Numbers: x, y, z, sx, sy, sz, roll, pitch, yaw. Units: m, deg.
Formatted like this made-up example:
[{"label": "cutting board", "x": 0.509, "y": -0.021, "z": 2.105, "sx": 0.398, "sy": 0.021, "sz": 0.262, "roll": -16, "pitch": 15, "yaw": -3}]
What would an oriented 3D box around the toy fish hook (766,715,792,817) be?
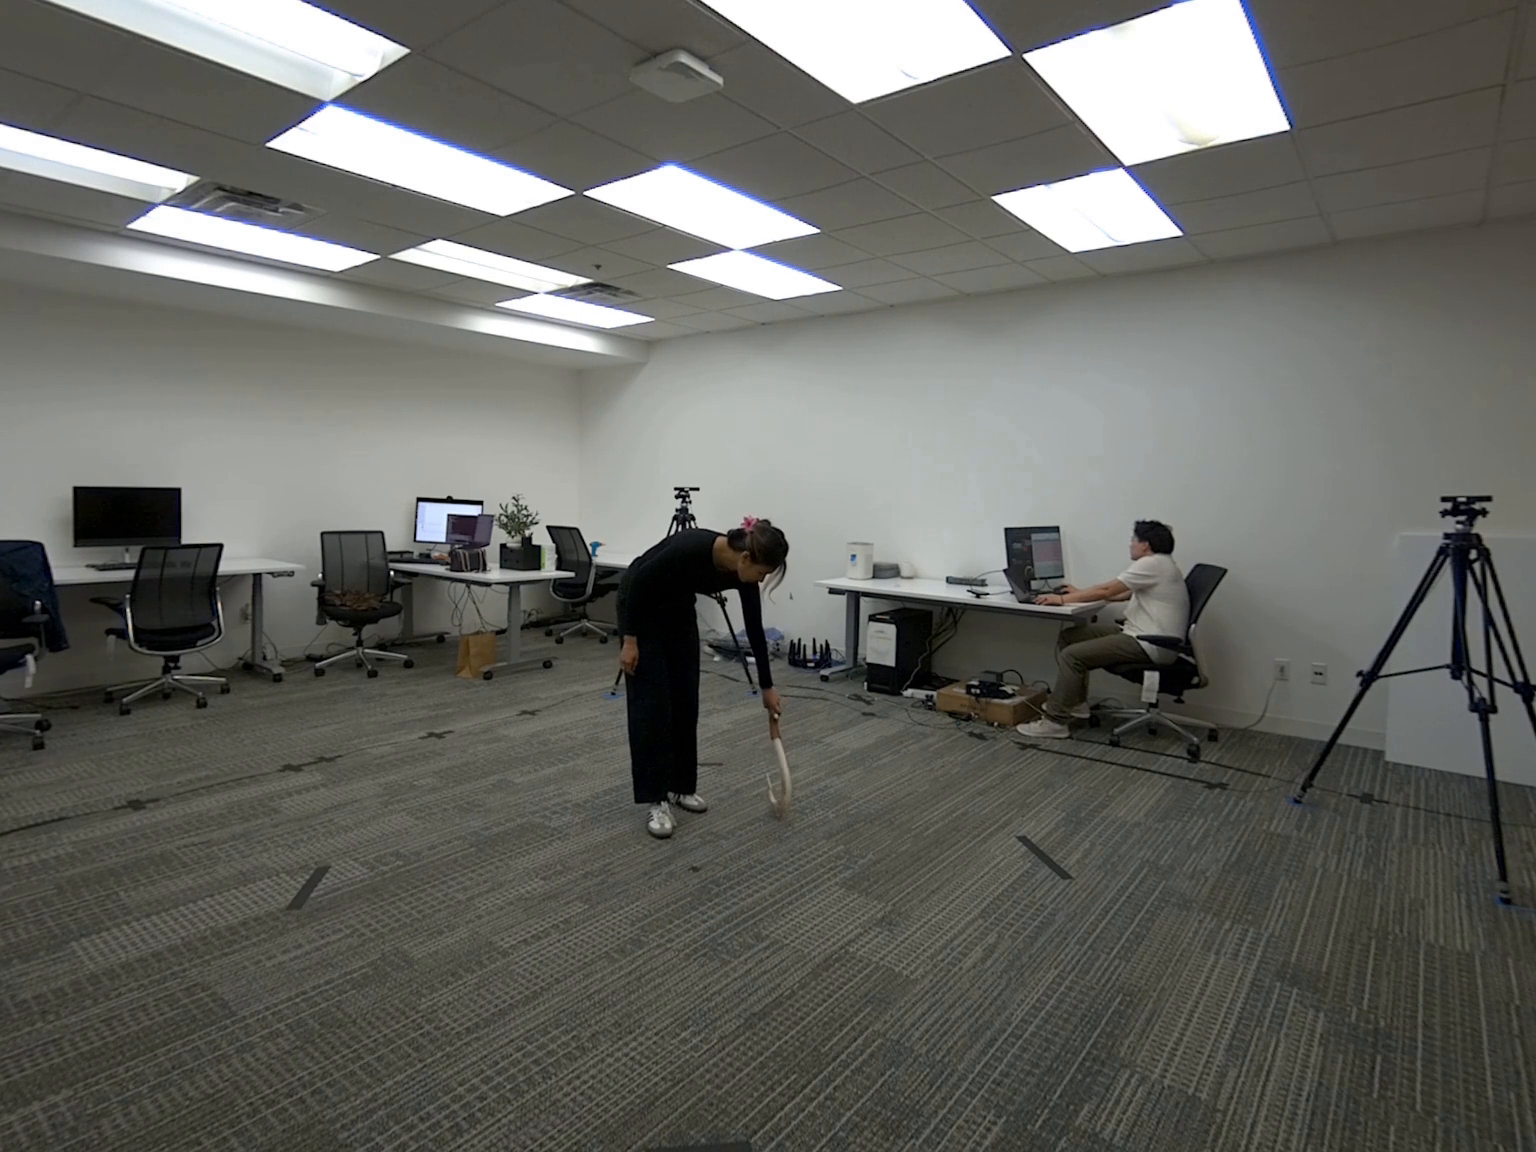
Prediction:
[{"label": "toy fish hook", "x": 0.013, "y": 0.781, "z": 3.713, "sx": 0.047, "sy": 0.520, "sz": 0.224, "roll": 8, "pitch": -31, "yaw": -25}]
